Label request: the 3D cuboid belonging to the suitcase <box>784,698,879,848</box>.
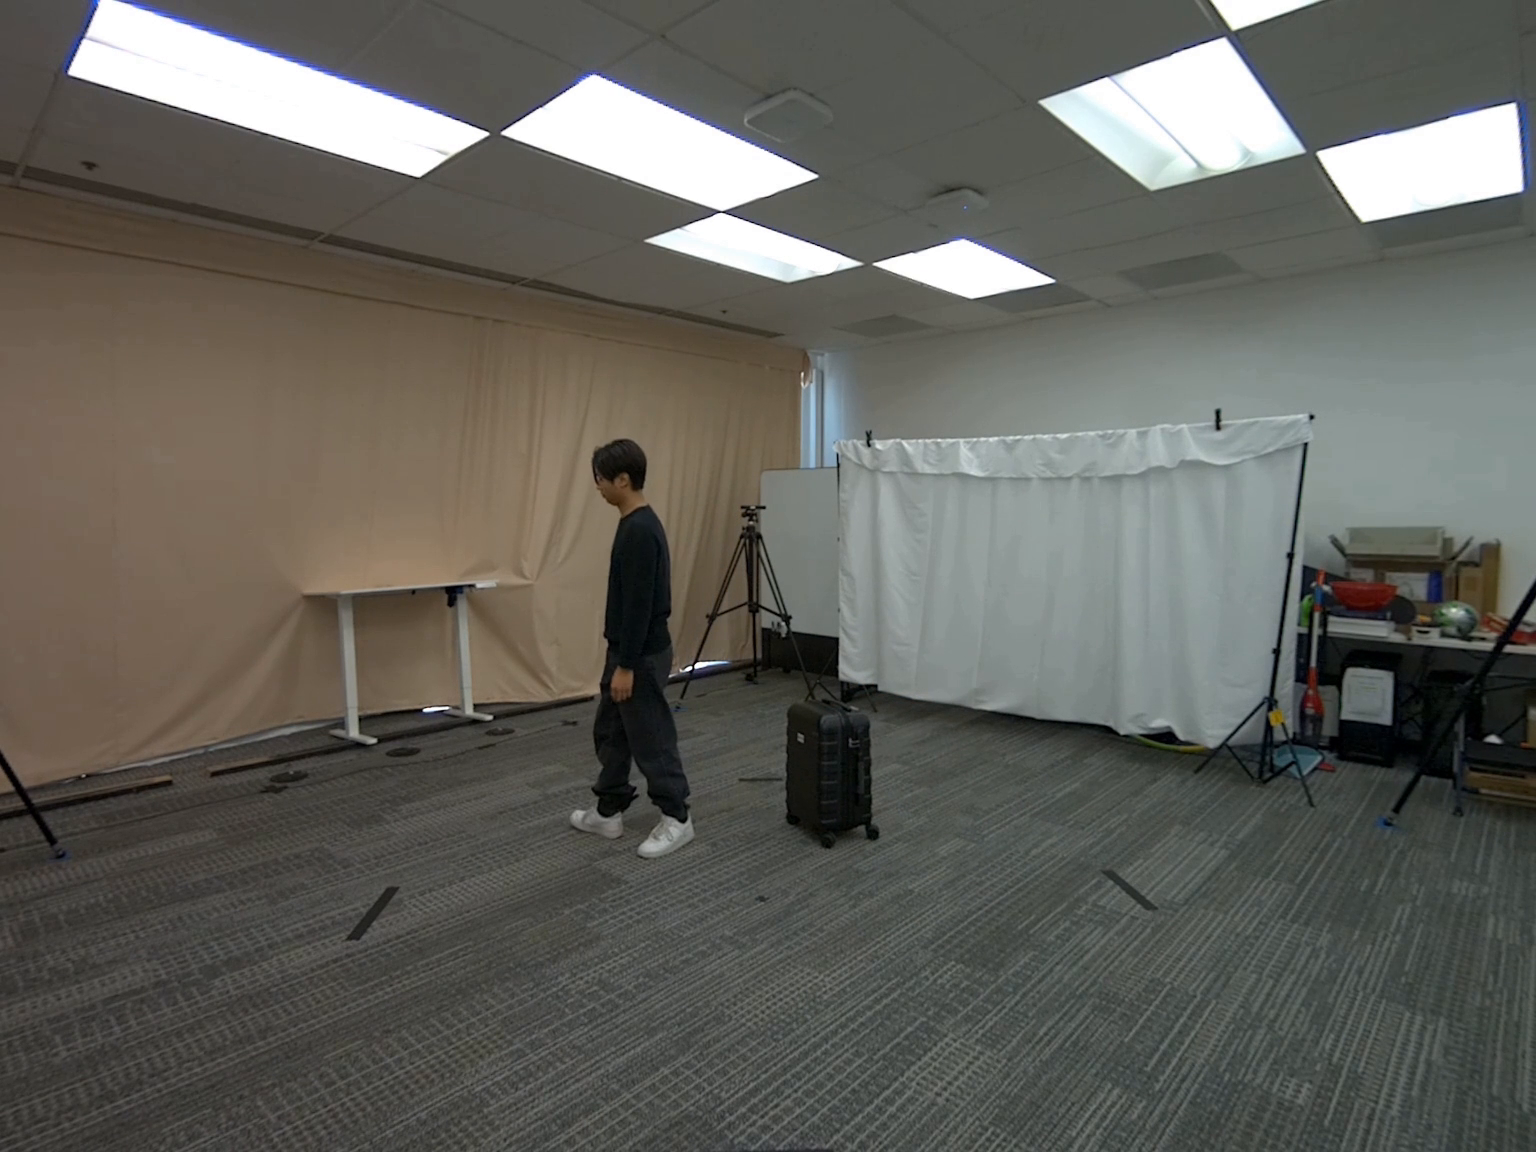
[{"bbox_3d":[0.259,0.815,3.603,0.242,0.548,0.385,-3,4,-26],"label":"suitcase"}]
